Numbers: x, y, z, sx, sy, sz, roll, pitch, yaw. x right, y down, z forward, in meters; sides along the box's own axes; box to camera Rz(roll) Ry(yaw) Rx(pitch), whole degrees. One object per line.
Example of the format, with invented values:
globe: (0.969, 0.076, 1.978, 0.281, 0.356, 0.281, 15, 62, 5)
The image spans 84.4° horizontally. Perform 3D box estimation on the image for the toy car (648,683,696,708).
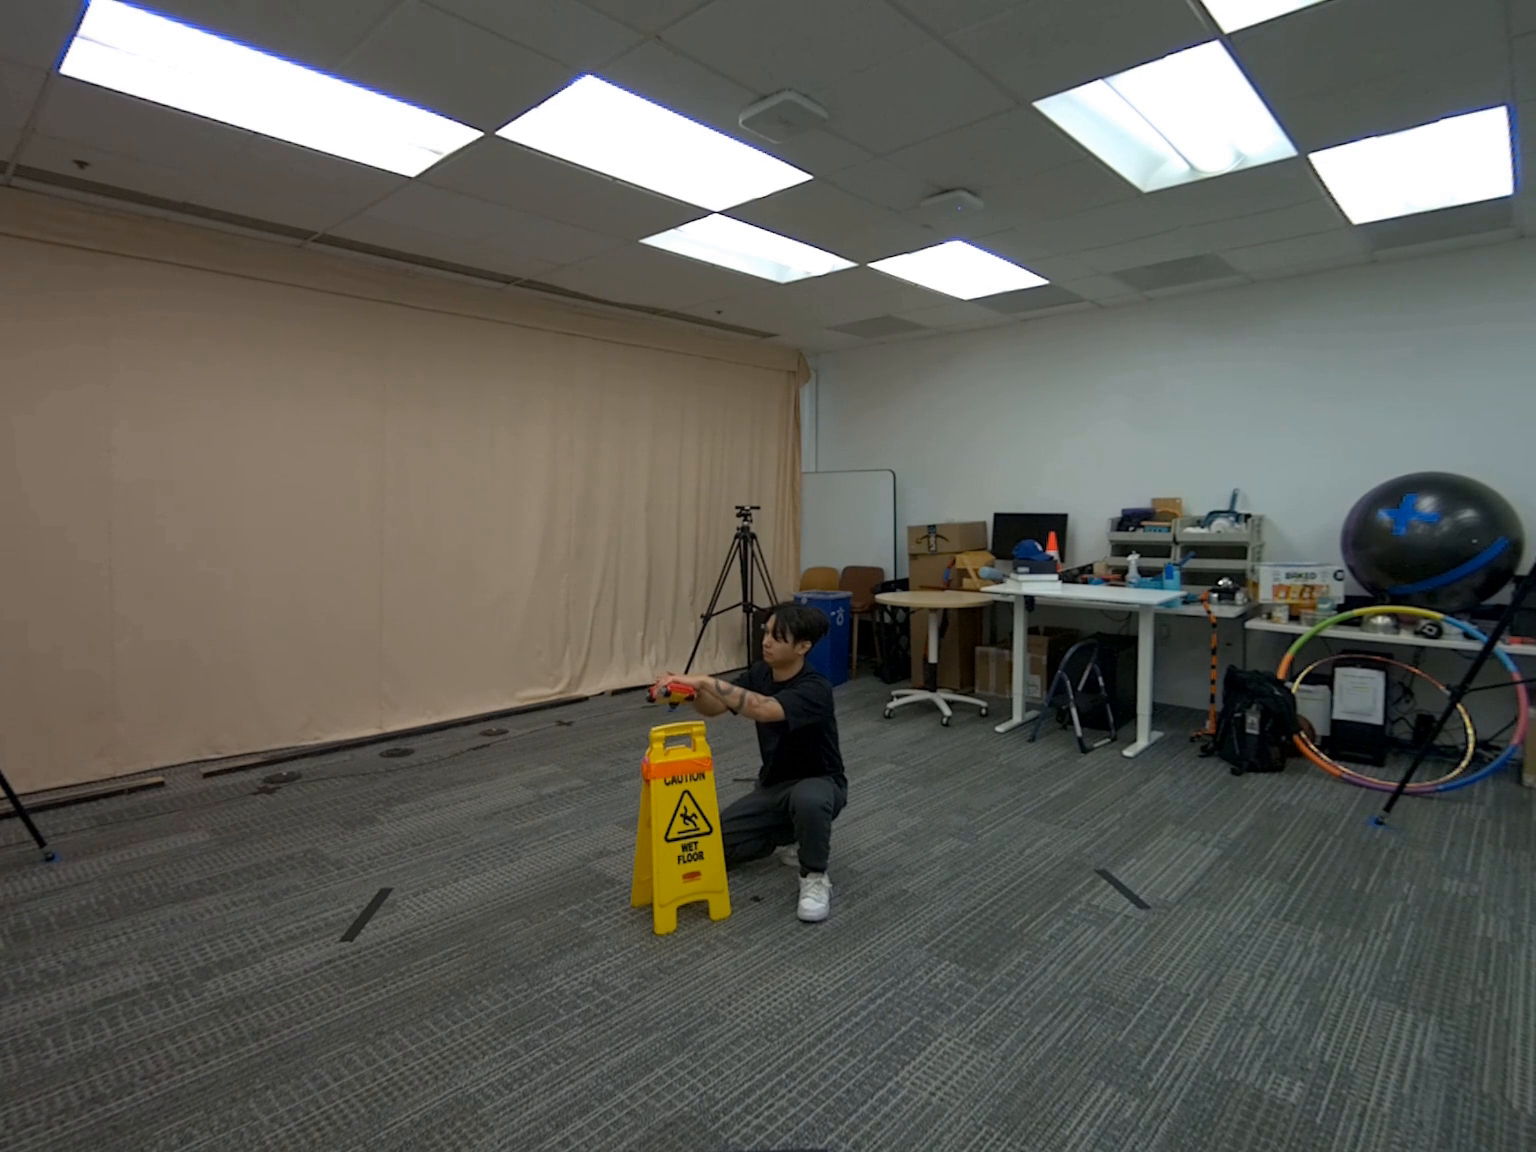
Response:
toy car: (-0.348, 0.418, 2.935, 0.127, 0.083, 0.261, 15, -7, -25)
